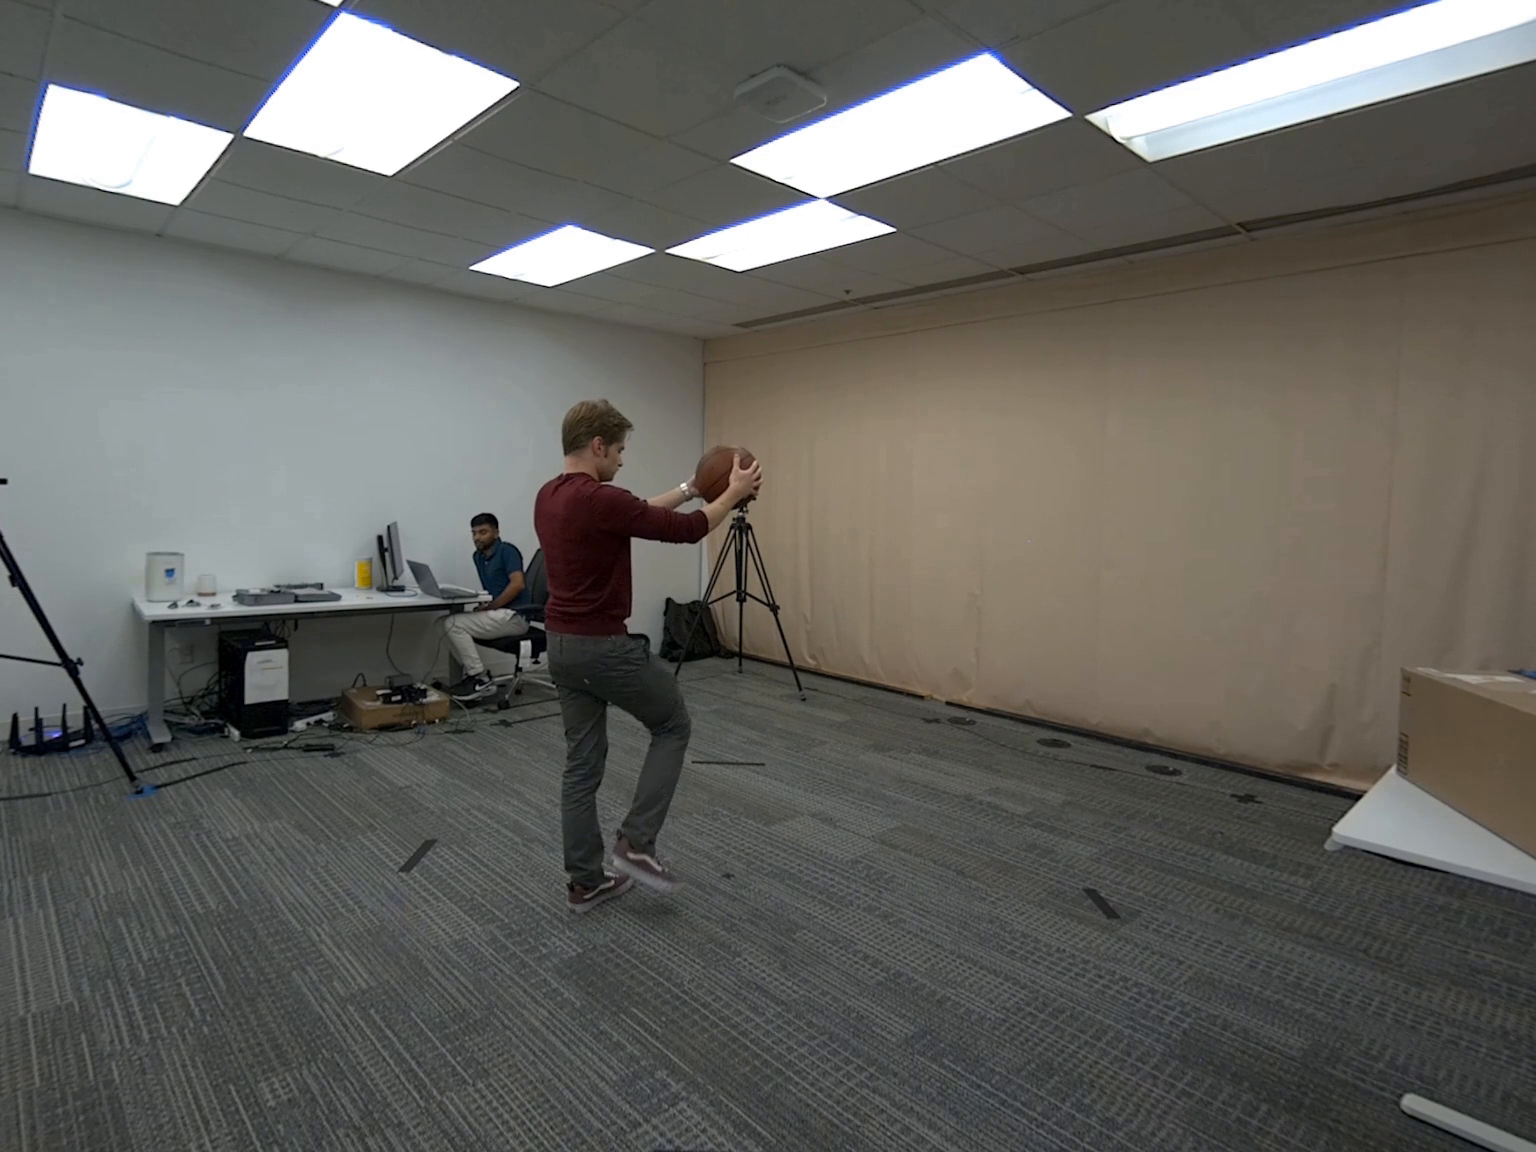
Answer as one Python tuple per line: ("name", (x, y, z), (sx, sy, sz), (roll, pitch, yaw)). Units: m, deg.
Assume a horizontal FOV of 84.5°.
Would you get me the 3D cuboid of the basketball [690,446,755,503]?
("basketball", (-0.149, -0.356, 3.043), (0.236, 0.235, 0.237), (1, 4, -1))
